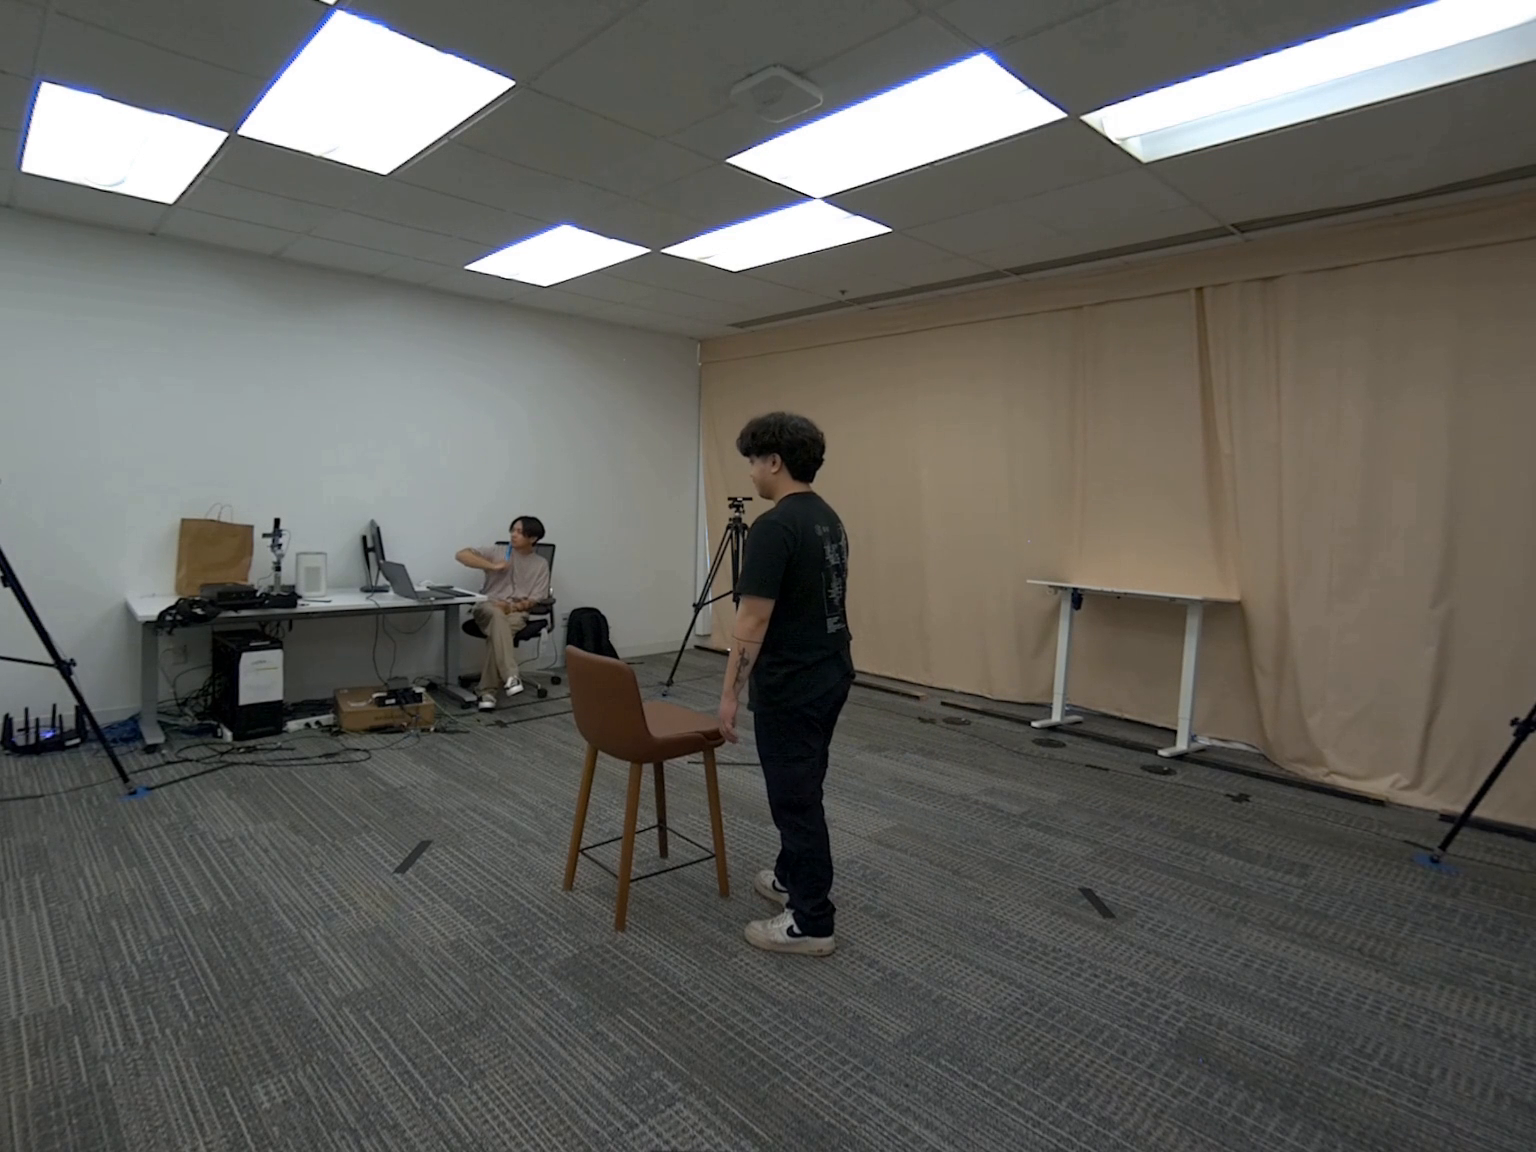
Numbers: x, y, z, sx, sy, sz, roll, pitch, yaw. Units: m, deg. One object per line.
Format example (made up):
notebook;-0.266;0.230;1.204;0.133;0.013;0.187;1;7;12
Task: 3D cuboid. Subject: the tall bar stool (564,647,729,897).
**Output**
tall bar stool;-0.437;0.679;2.944;0.457;0.886;0.468;-5;6;-40
